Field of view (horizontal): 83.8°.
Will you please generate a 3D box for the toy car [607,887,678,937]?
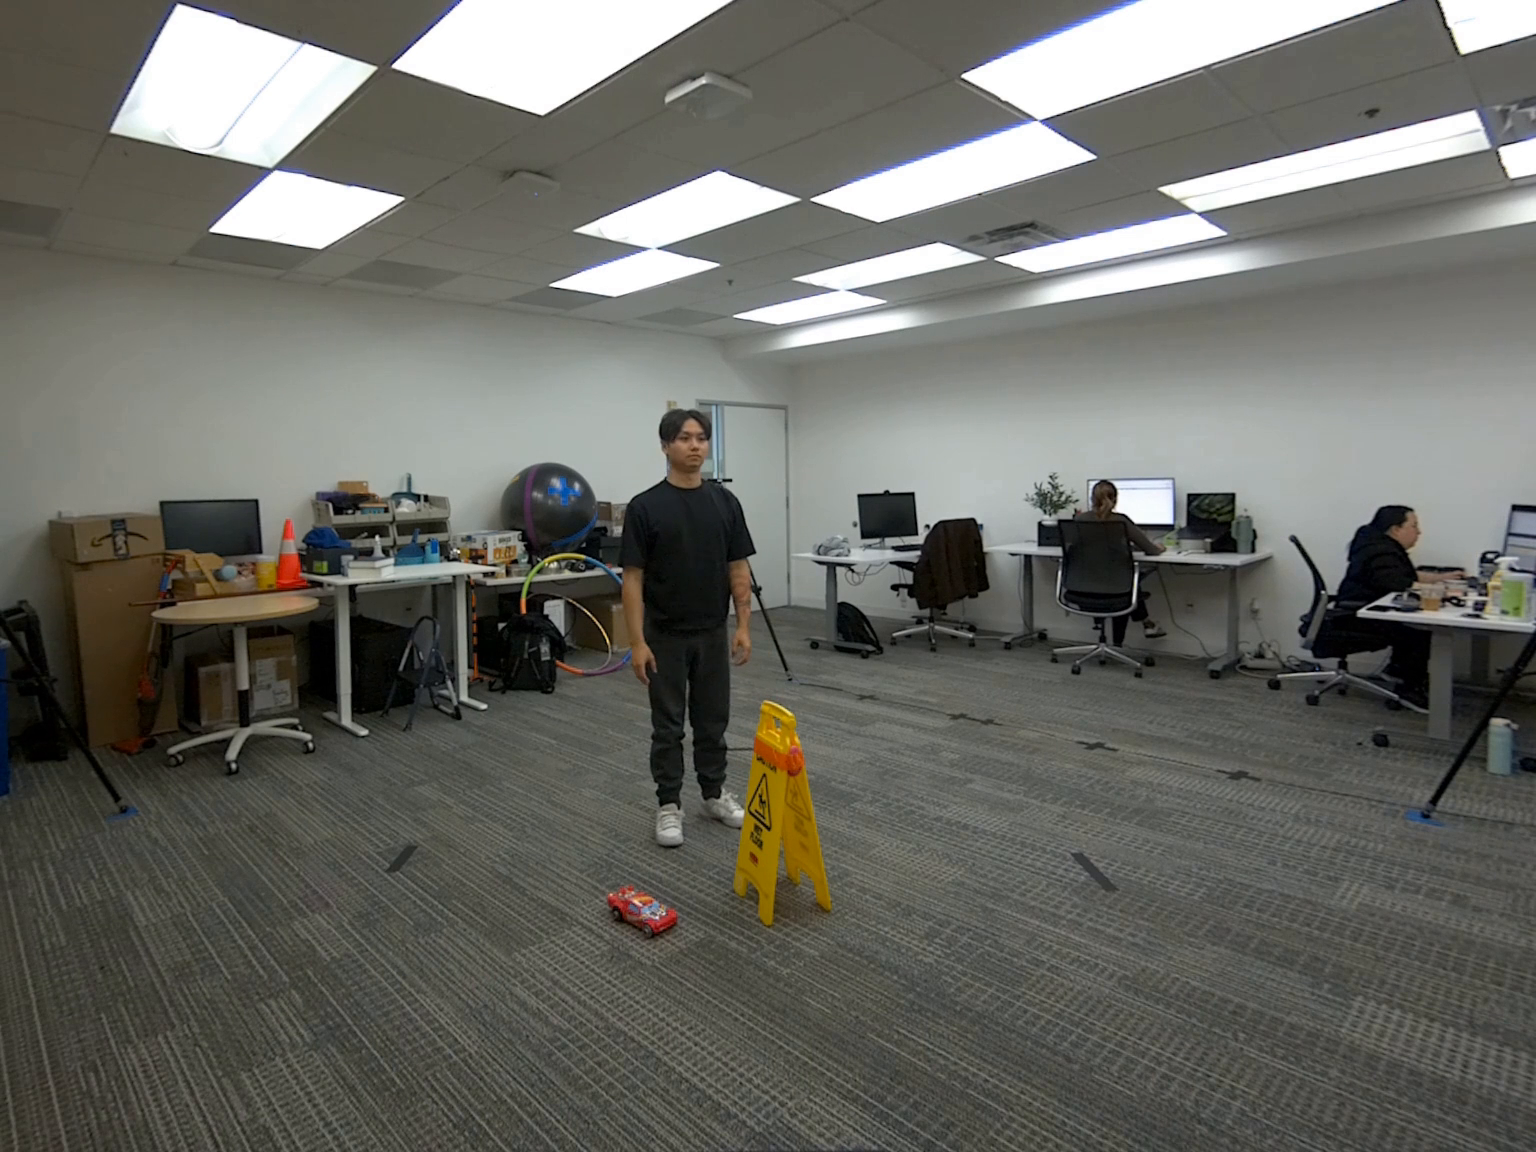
[{"bbox_3d":[-0.411,1.069,2.723,0.264,0.082,0.127,19,19,40],"label":"toy car"}]
